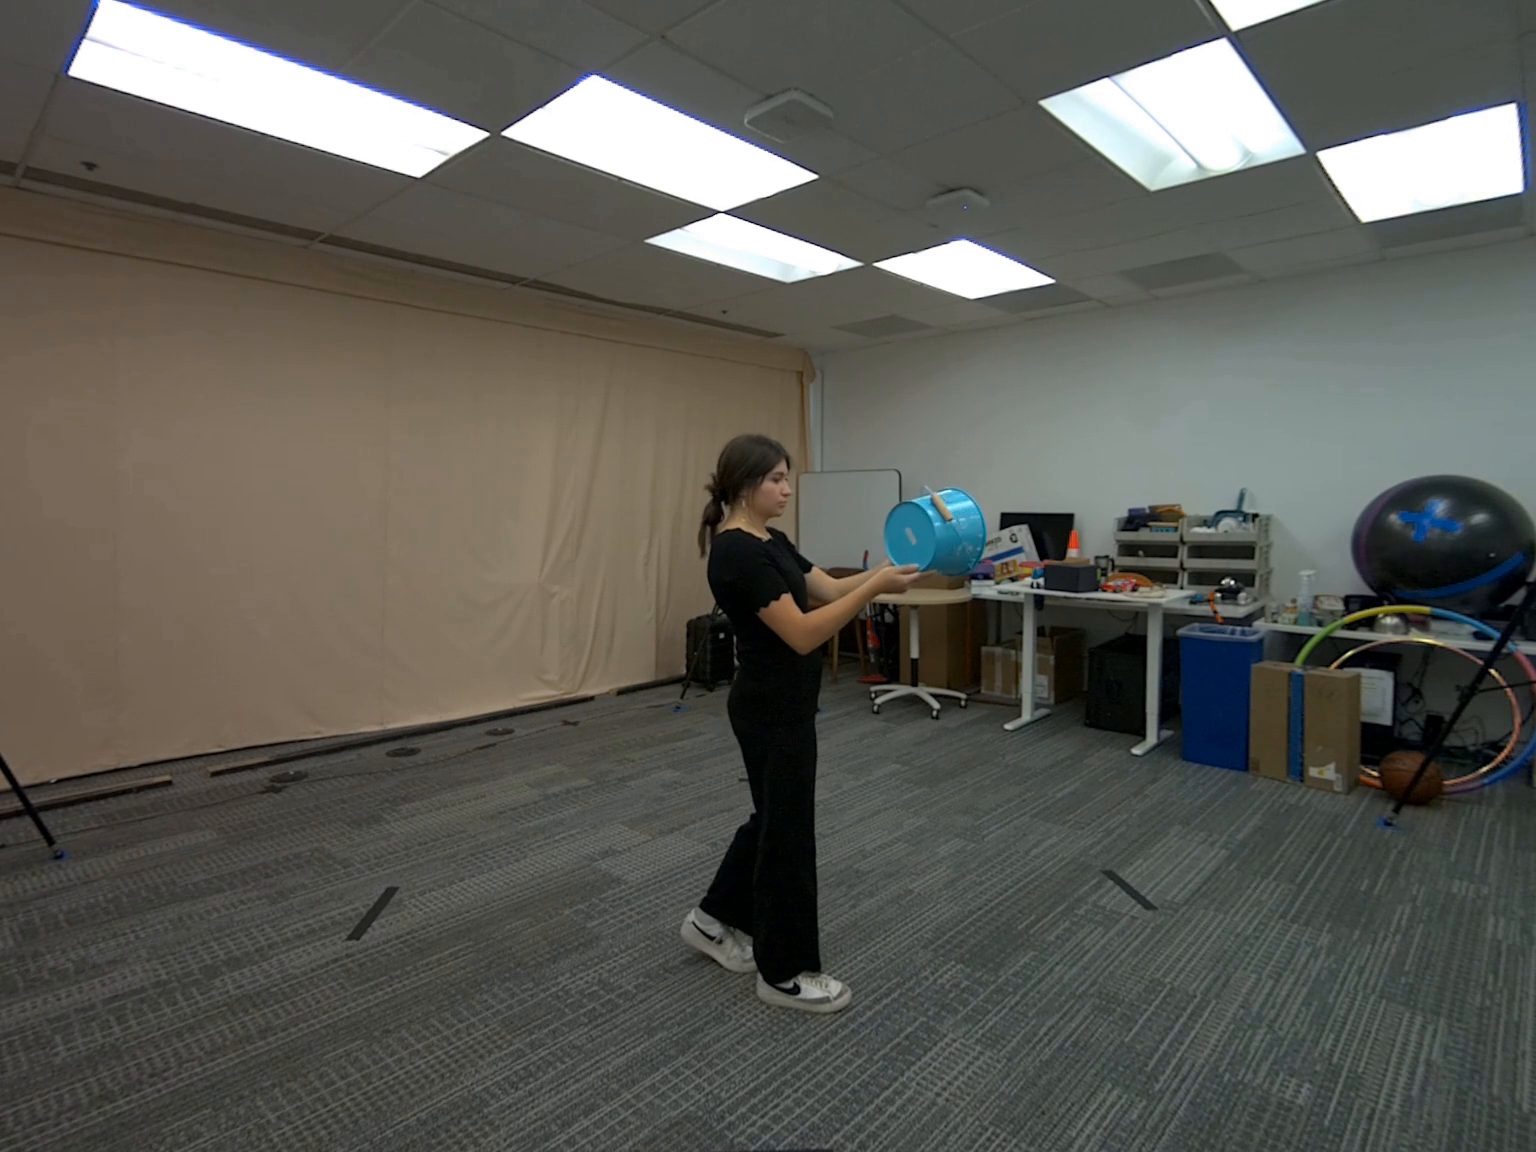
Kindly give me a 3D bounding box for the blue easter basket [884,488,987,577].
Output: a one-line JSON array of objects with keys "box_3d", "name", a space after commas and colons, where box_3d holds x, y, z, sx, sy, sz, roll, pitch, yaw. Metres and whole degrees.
[{"box_3d": [0.419, -0.112, 2.153, 0.151, 0.243, 0.251, -5, 6, -34], "name": "blue easter basket"}]
